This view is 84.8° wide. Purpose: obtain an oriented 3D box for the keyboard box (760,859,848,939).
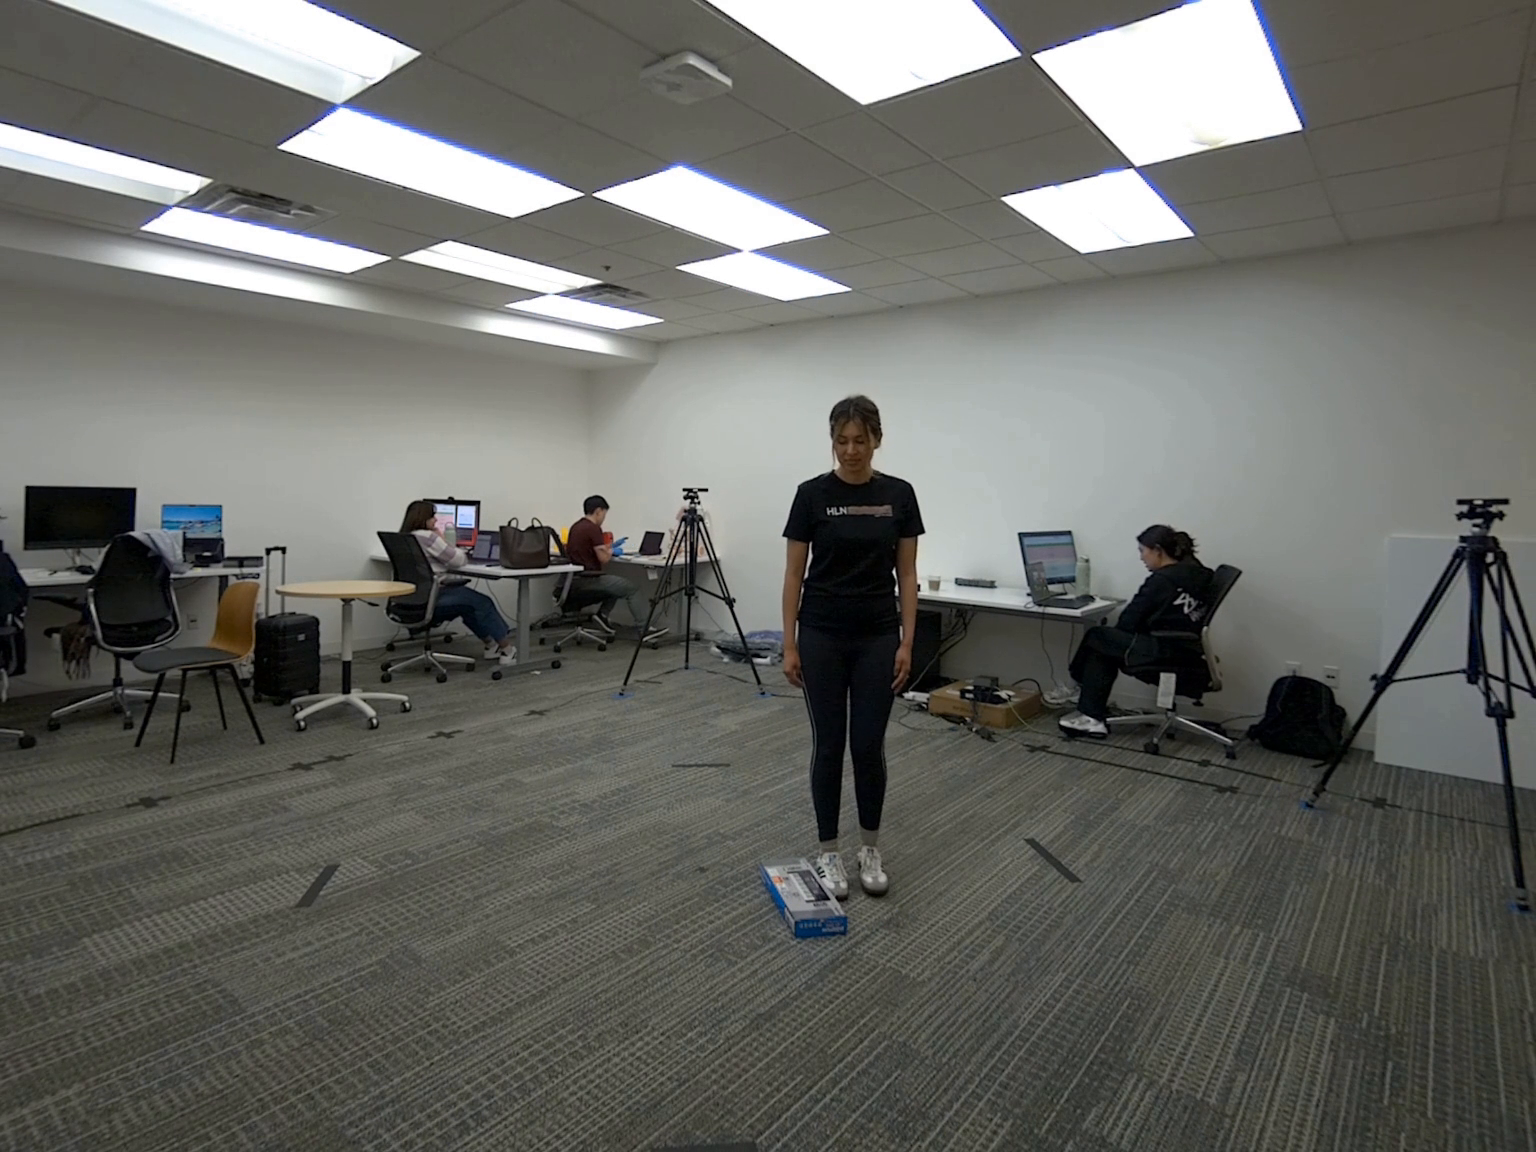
[{"bbox_3d":[0.098,1.071,2.865,0.173,0.059,0.445,-1,6,-15],"label":"keyboard box"}]
